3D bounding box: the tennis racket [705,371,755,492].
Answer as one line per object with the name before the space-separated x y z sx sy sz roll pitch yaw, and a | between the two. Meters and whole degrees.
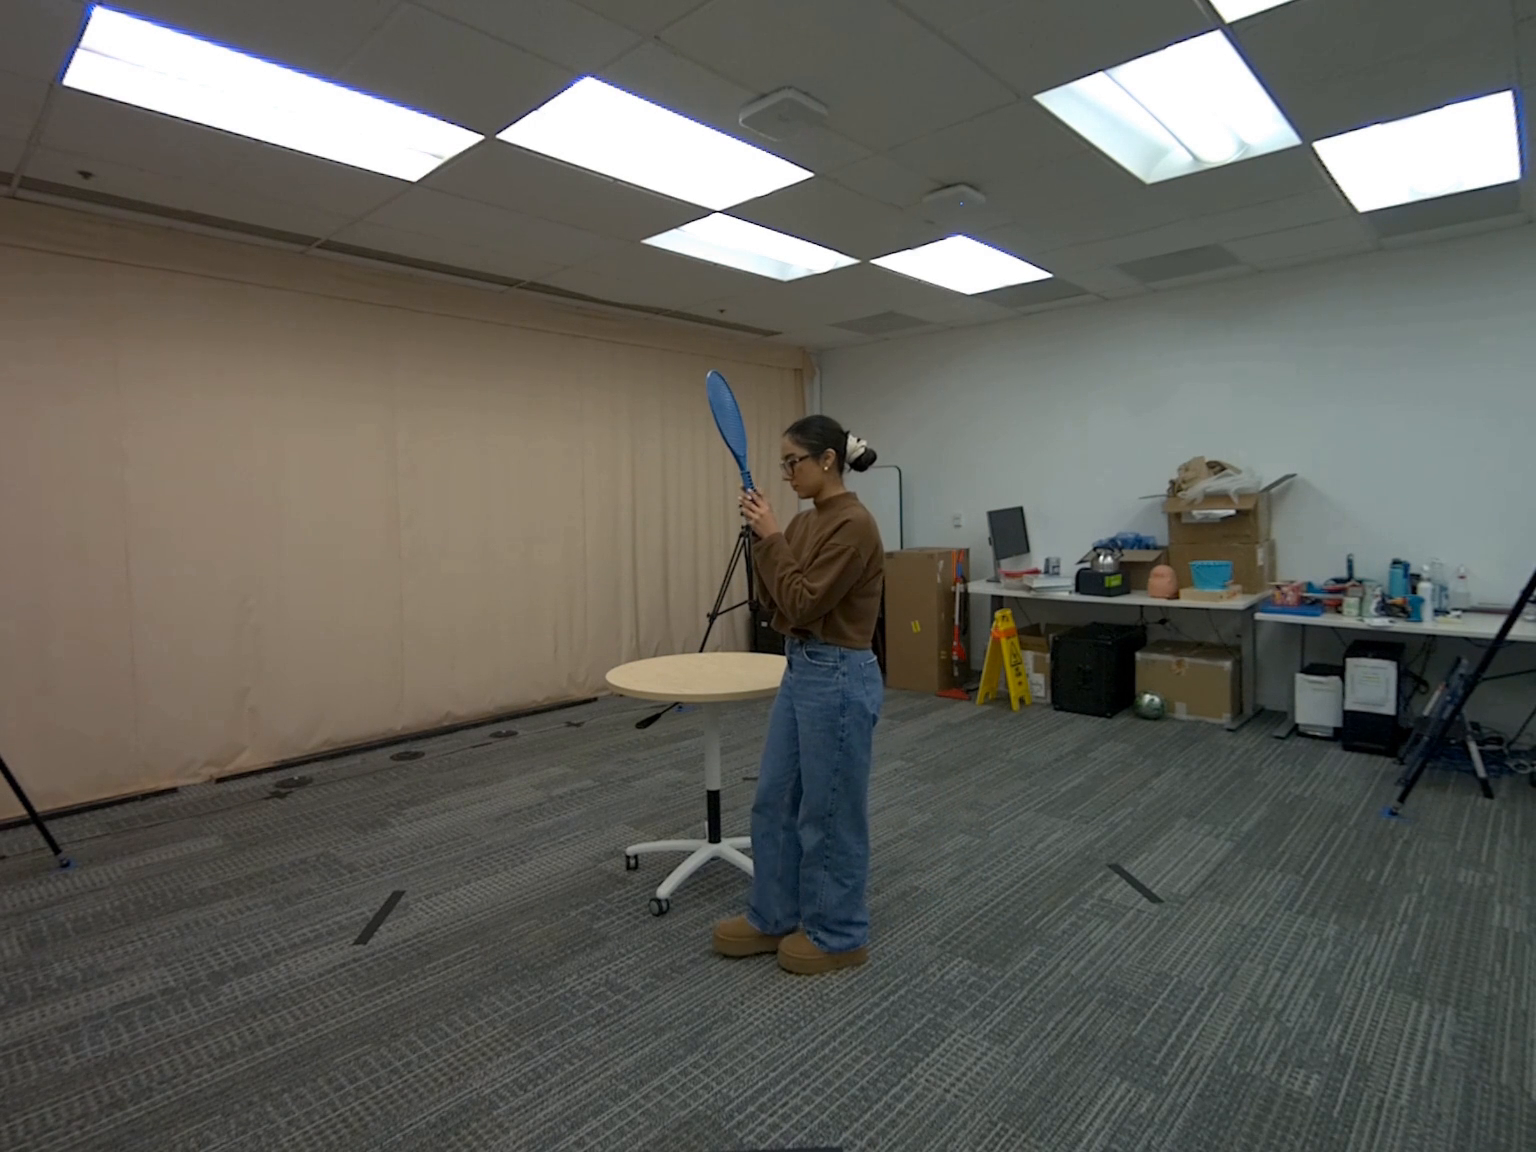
tennis racket | -0.072 -0.402 2.467 0.032 0.433 0.210 -19 0 19
